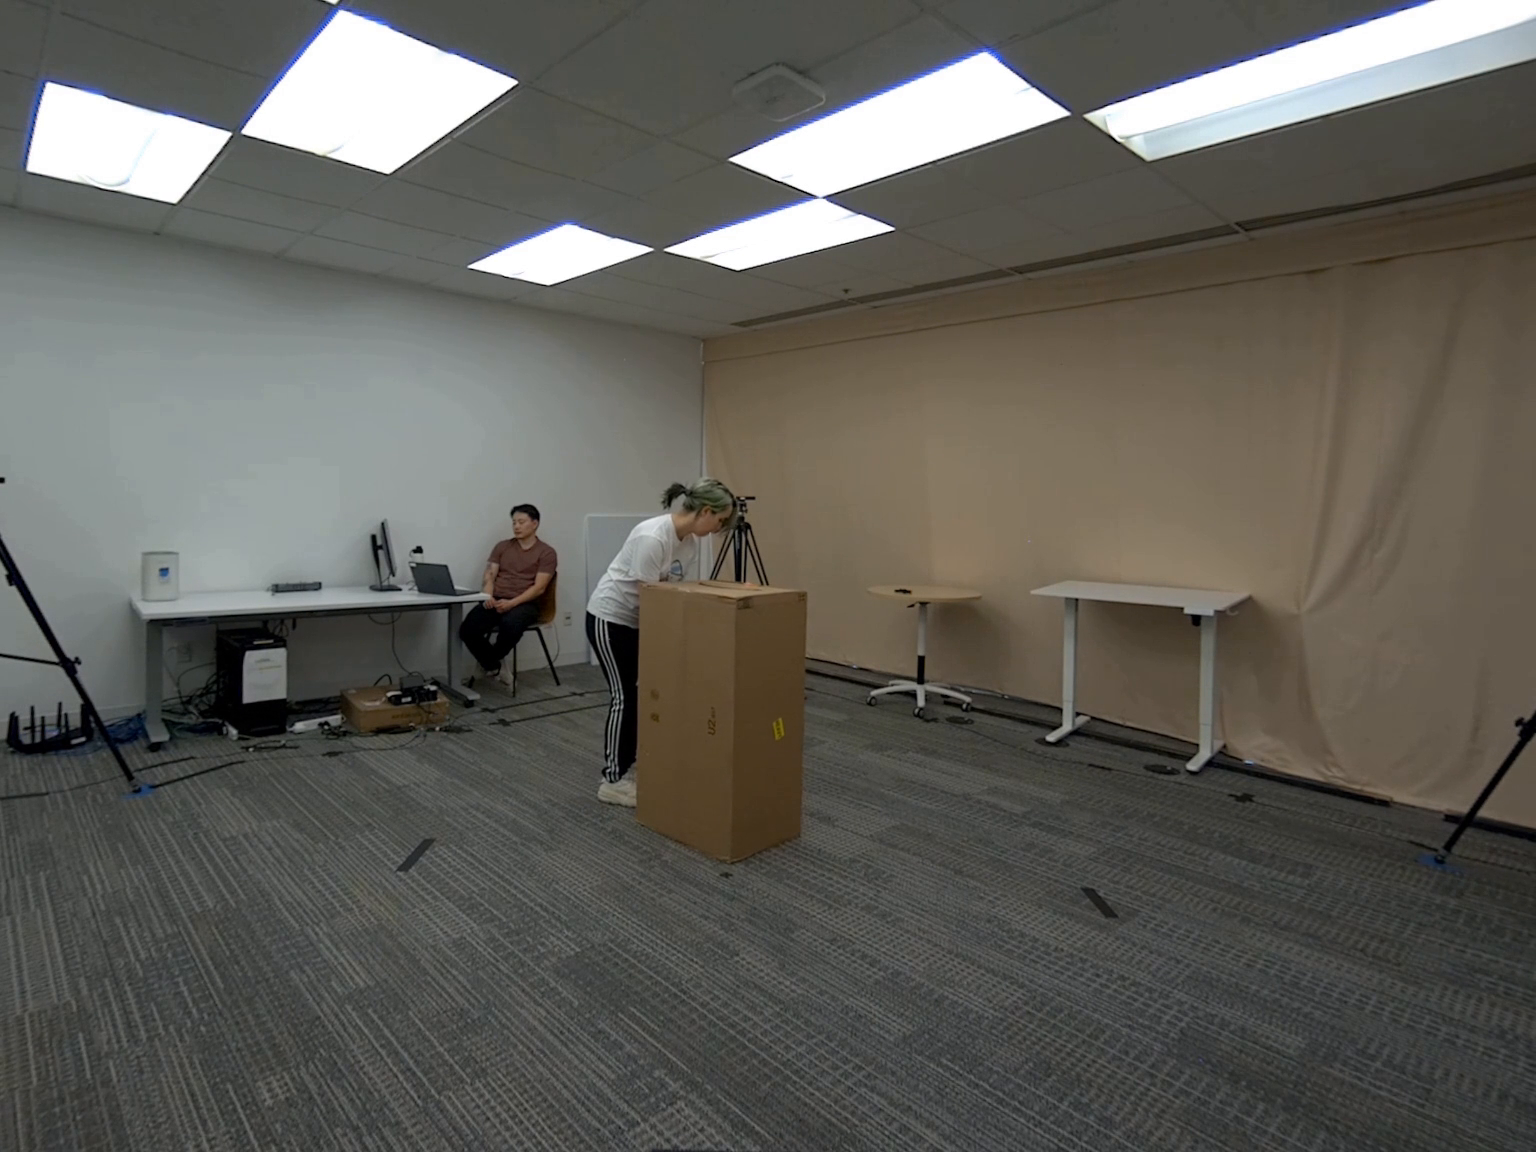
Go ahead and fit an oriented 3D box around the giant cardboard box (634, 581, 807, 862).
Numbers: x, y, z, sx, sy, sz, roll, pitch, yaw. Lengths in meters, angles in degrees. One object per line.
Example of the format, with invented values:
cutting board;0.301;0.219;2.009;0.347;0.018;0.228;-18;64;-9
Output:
giant cardboard box;-0.204;0.560;3.517;0.599;1.024;0.437;4;5;43
